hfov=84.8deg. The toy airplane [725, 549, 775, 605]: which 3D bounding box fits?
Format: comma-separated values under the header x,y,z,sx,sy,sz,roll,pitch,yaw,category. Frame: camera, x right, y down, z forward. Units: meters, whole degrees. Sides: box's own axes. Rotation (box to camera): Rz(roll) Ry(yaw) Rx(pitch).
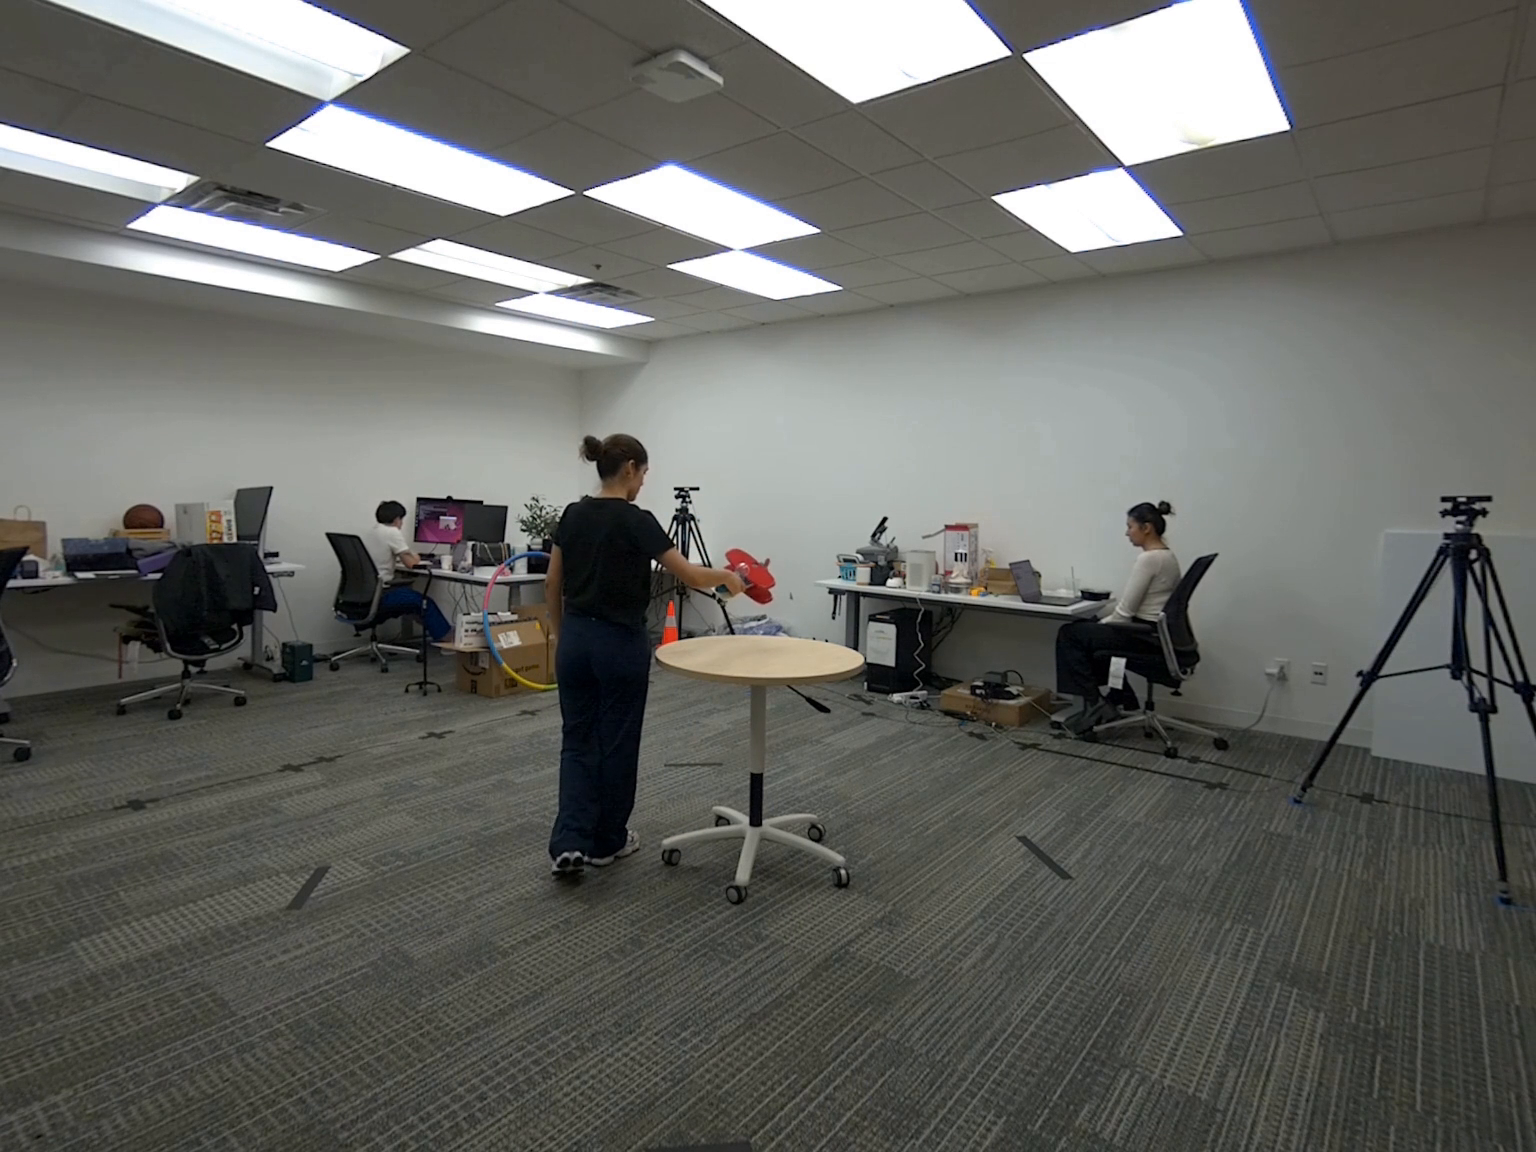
x,y,z,sx,sy,sz,roll,pitch,yaw,category
-0.077,0.026,3.333,0.256,0.154,0.257,28,30,13,toy airplane
